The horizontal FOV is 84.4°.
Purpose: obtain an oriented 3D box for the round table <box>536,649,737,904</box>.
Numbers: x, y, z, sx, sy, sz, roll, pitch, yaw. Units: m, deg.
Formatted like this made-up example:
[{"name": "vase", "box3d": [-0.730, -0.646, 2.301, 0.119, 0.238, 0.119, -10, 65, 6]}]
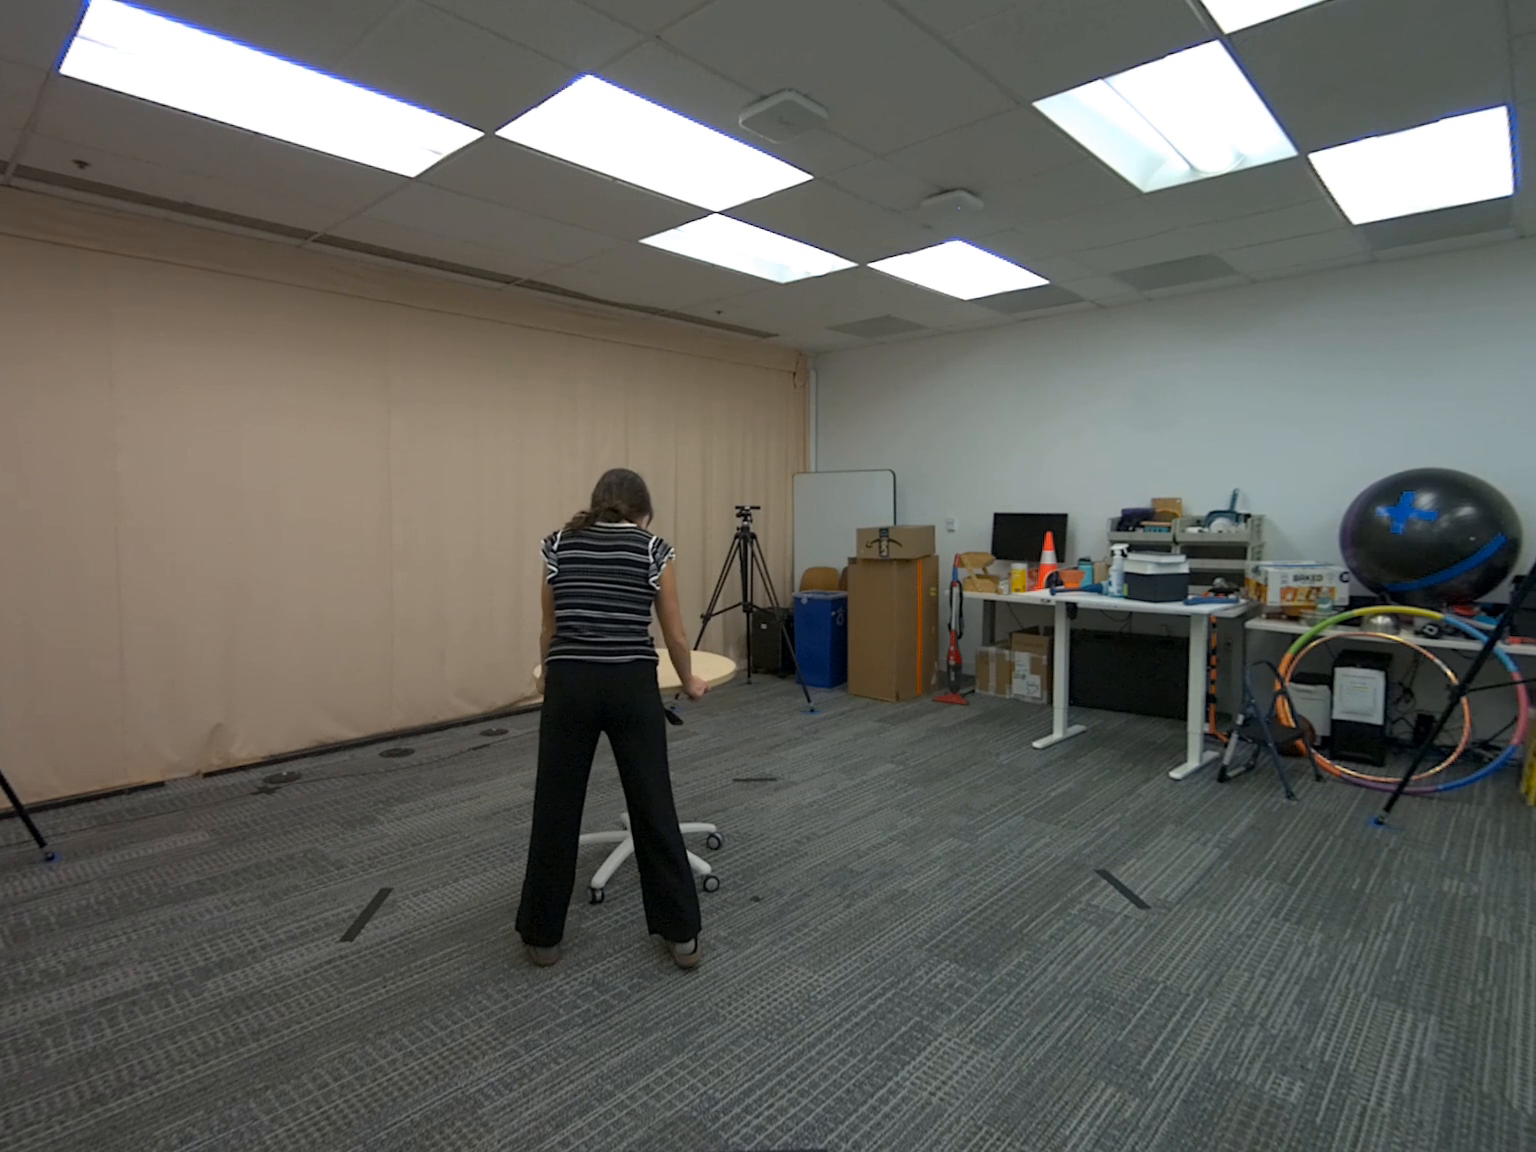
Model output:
[{"name": "round table", "box3d": [-0.491, 0.738, 3.243, 0.763, 0.792, 0.767, -1, 4, -2]}]
